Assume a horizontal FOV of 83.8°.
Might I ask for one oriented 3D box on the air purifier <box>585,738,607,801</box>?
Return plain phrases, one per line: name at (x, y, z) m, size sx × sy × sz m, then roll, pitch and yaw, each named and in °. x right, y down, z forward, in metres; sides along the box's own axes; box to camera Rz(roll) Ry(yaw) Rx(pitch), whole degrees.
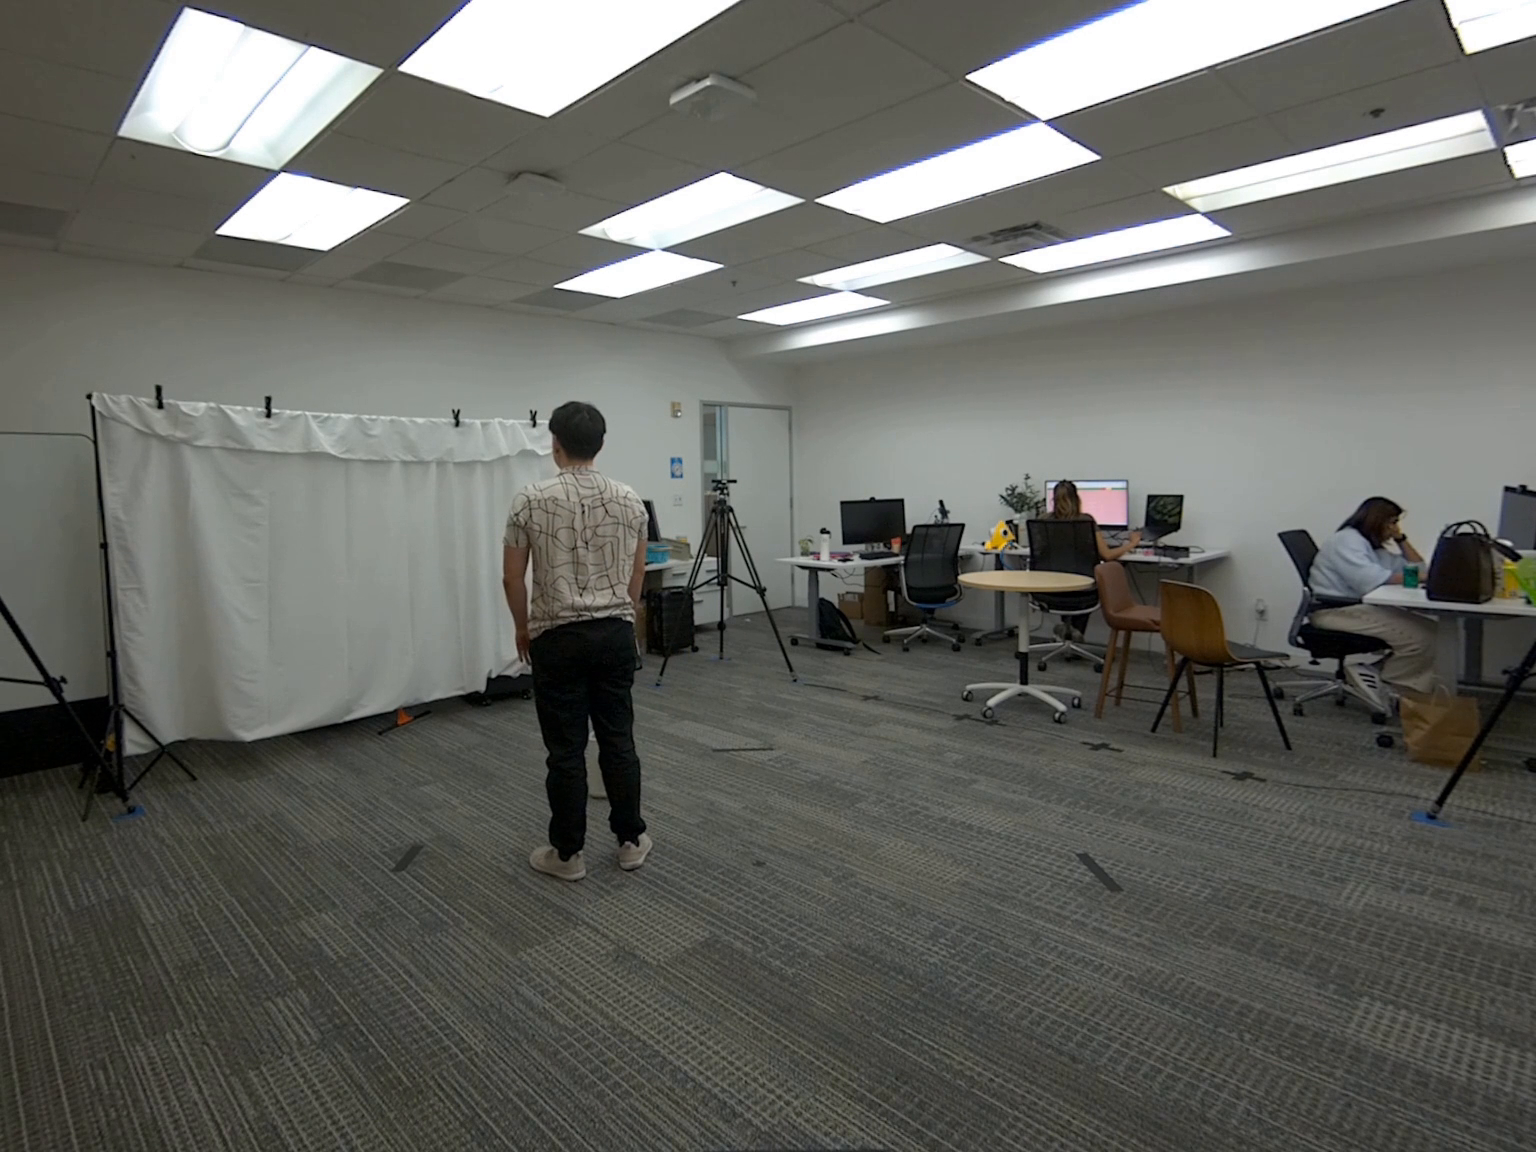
air purifier at (-0.721, 0.844, 3.856) m, size 0.171 × 0.265 × 0.172 m, roll -1°, pitch 3°, yaw -3°
